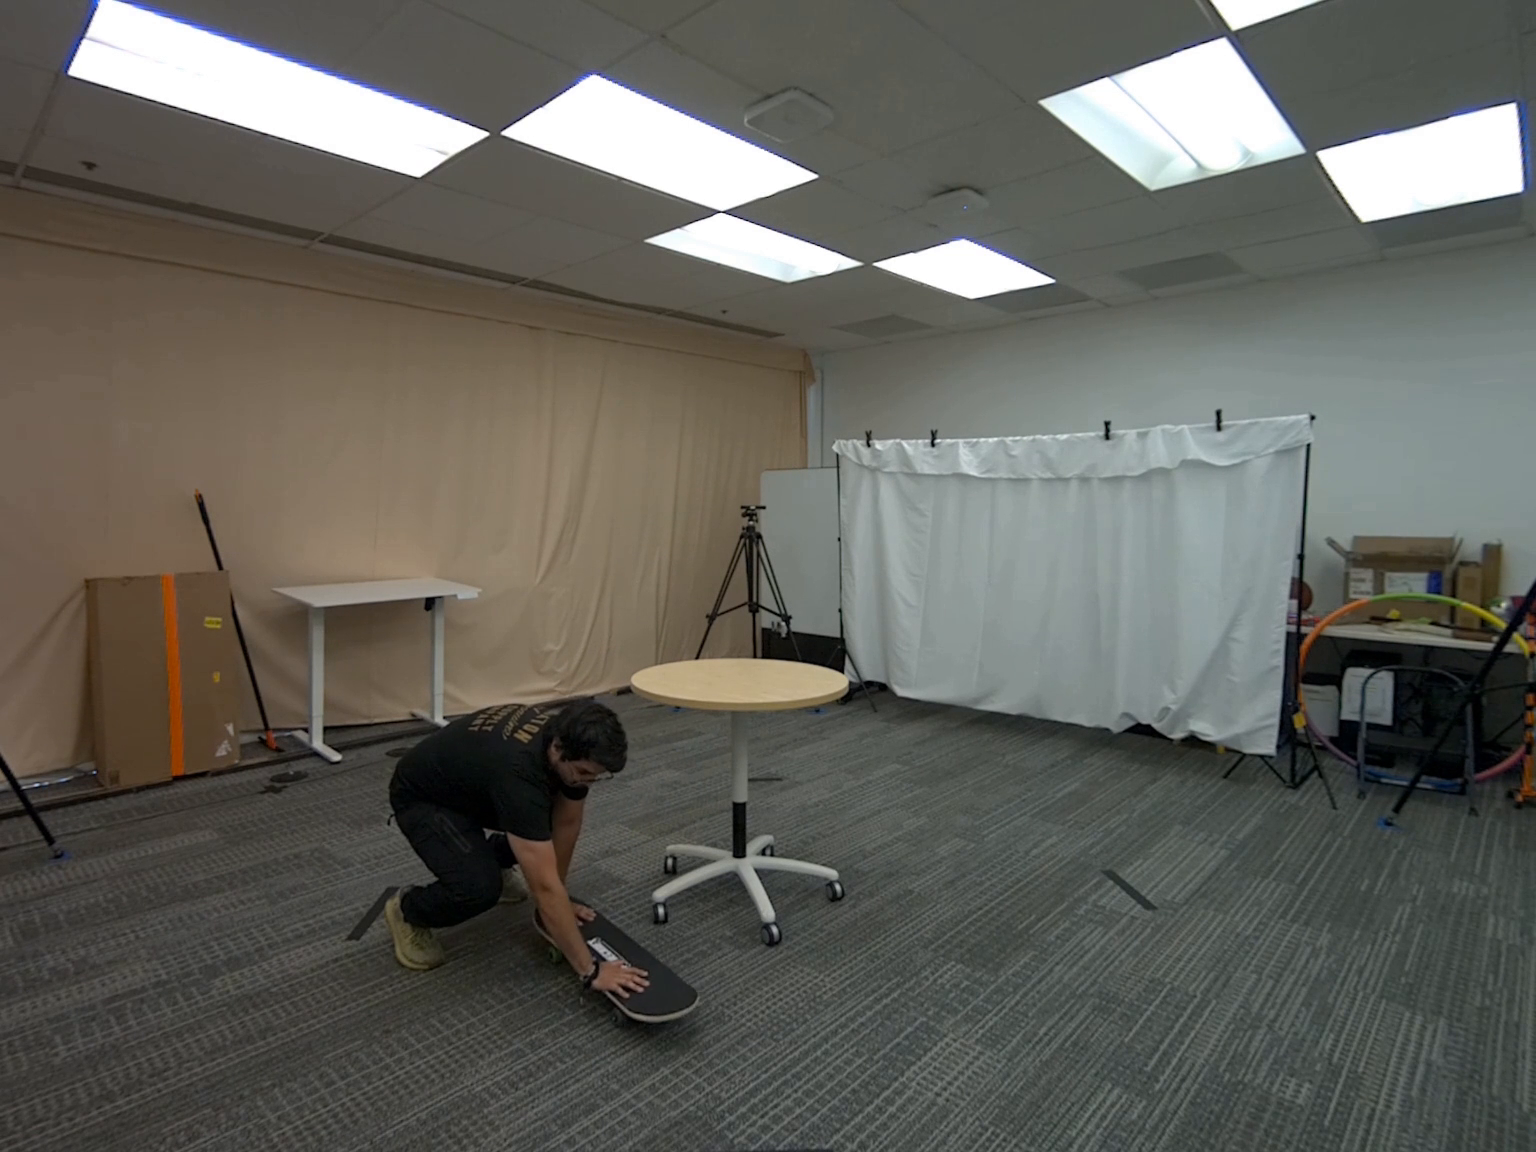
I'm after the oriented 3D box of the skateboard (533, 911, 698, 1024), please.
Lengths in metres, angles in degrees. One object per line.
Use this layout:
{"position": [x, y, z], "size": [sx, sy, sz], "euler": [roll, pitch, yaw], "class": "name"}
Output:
{"position": [-0.465, 1.135, 2.454], "size": [0.188, 0.110, 0.811], "euler": [-7, 7, -37], "class": "skateboard"}
